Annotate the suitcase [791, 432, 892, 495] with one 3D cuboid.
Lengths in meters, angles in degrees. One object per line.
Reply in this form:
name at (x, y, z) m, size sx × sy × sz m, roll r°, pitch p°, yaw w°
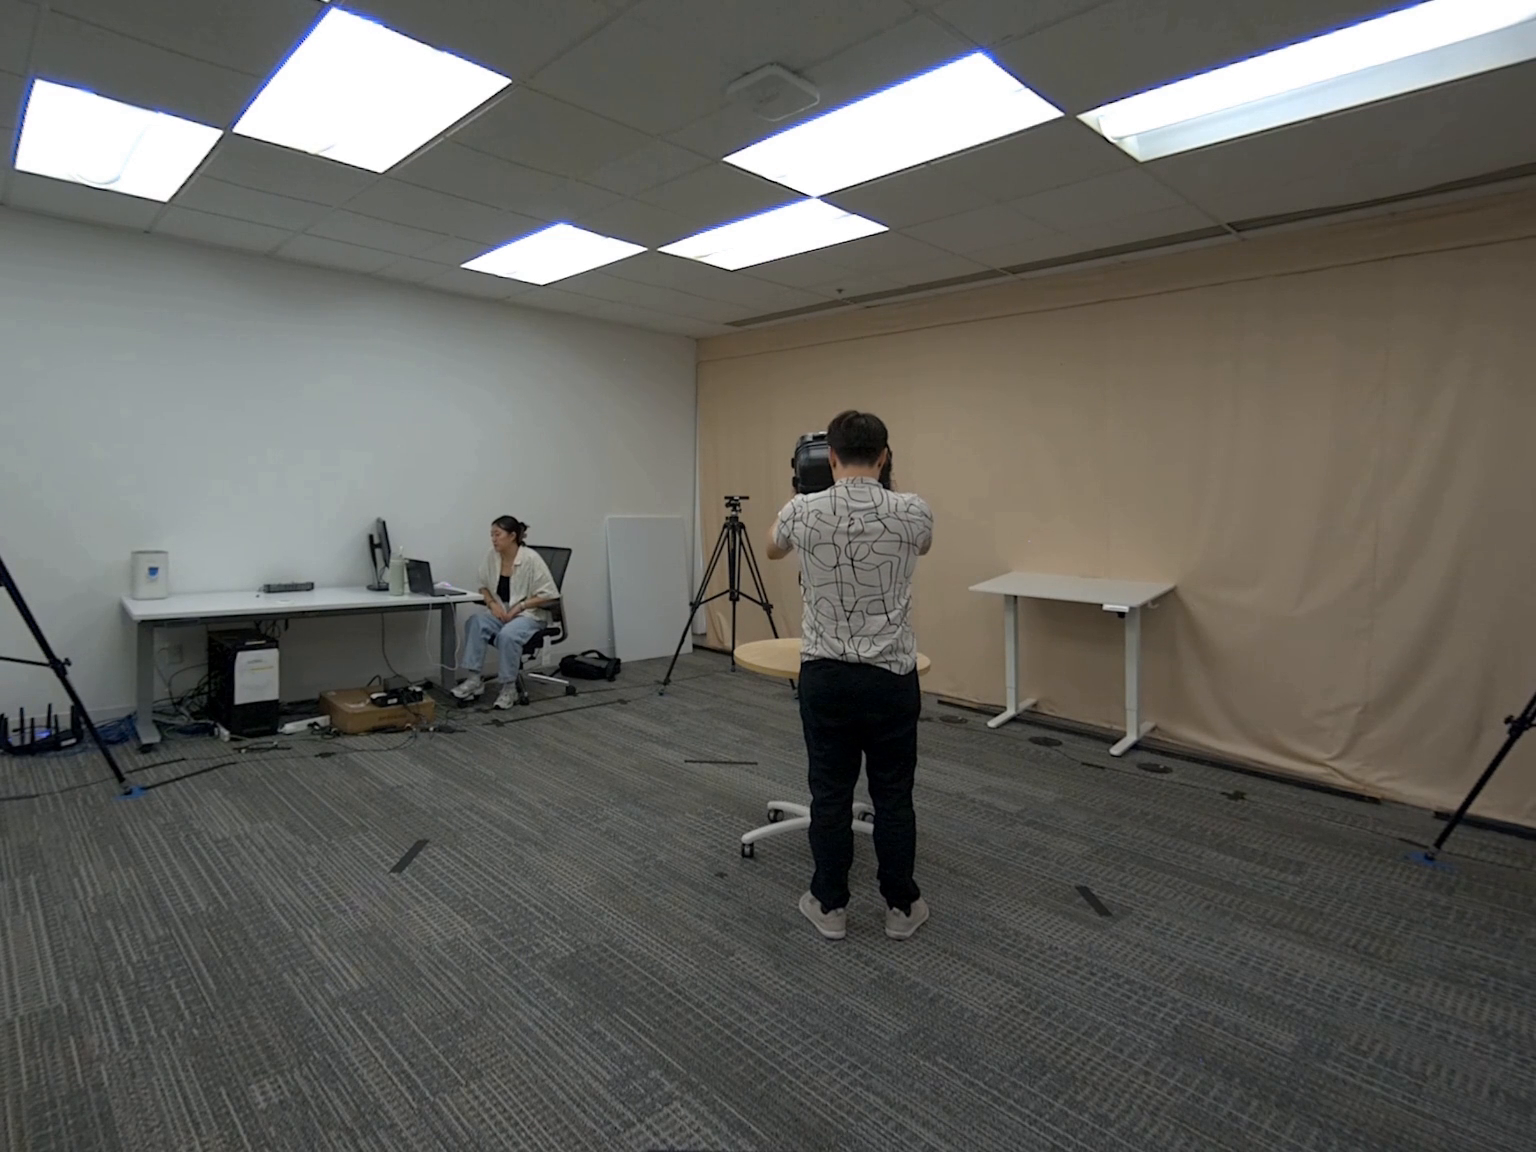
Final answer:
suitcase at (0.286, -0.264, 3.161) m, size 0.376 × 0.537 × 0.253 m, roll -1°, pitch 34°, yaw 2°
